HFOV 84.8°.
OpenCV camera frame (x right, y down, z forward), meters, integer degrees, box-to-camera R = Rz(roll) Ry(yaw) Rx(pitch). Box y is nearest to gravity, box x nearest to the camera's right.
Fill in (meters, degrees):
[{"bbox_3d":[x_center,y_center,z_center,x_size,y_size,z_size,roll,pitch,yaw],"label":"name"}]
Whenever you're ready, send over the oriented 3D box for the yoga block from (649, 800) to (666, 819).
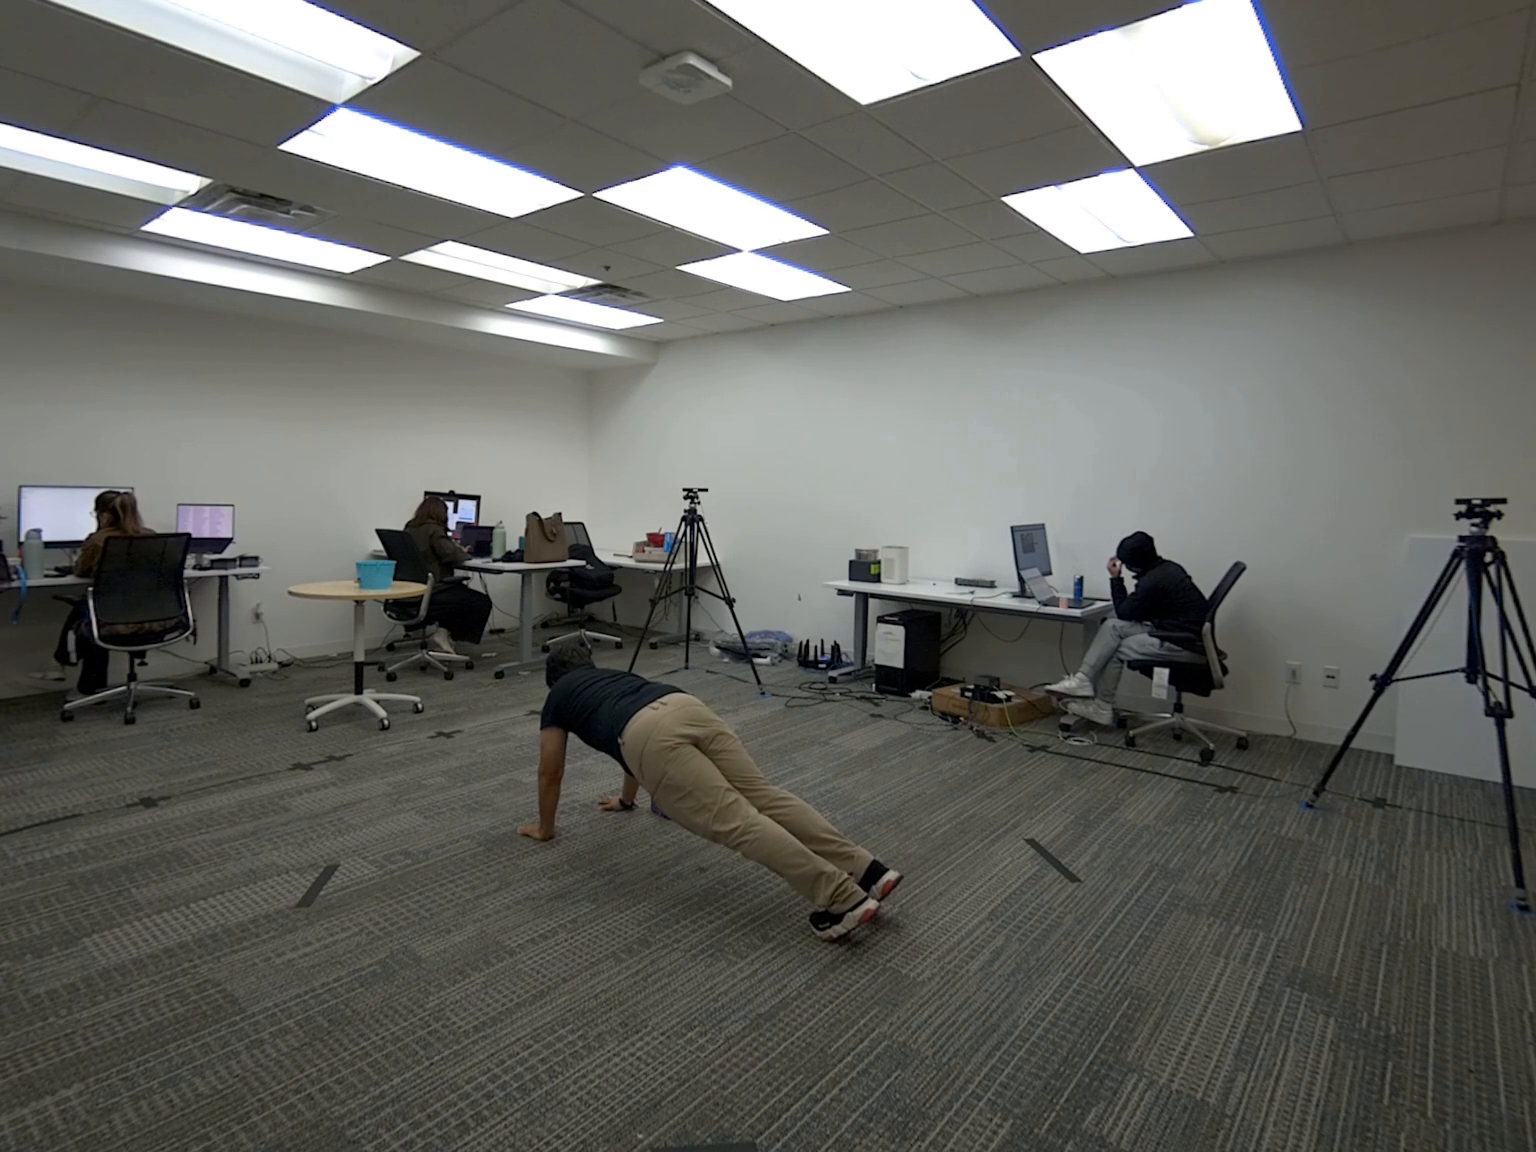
[{"bbox_3d":[-0.384,0.964,3.683,0.222,0.076,0.154,-5,8,-44],"label":"yoga block"}]
